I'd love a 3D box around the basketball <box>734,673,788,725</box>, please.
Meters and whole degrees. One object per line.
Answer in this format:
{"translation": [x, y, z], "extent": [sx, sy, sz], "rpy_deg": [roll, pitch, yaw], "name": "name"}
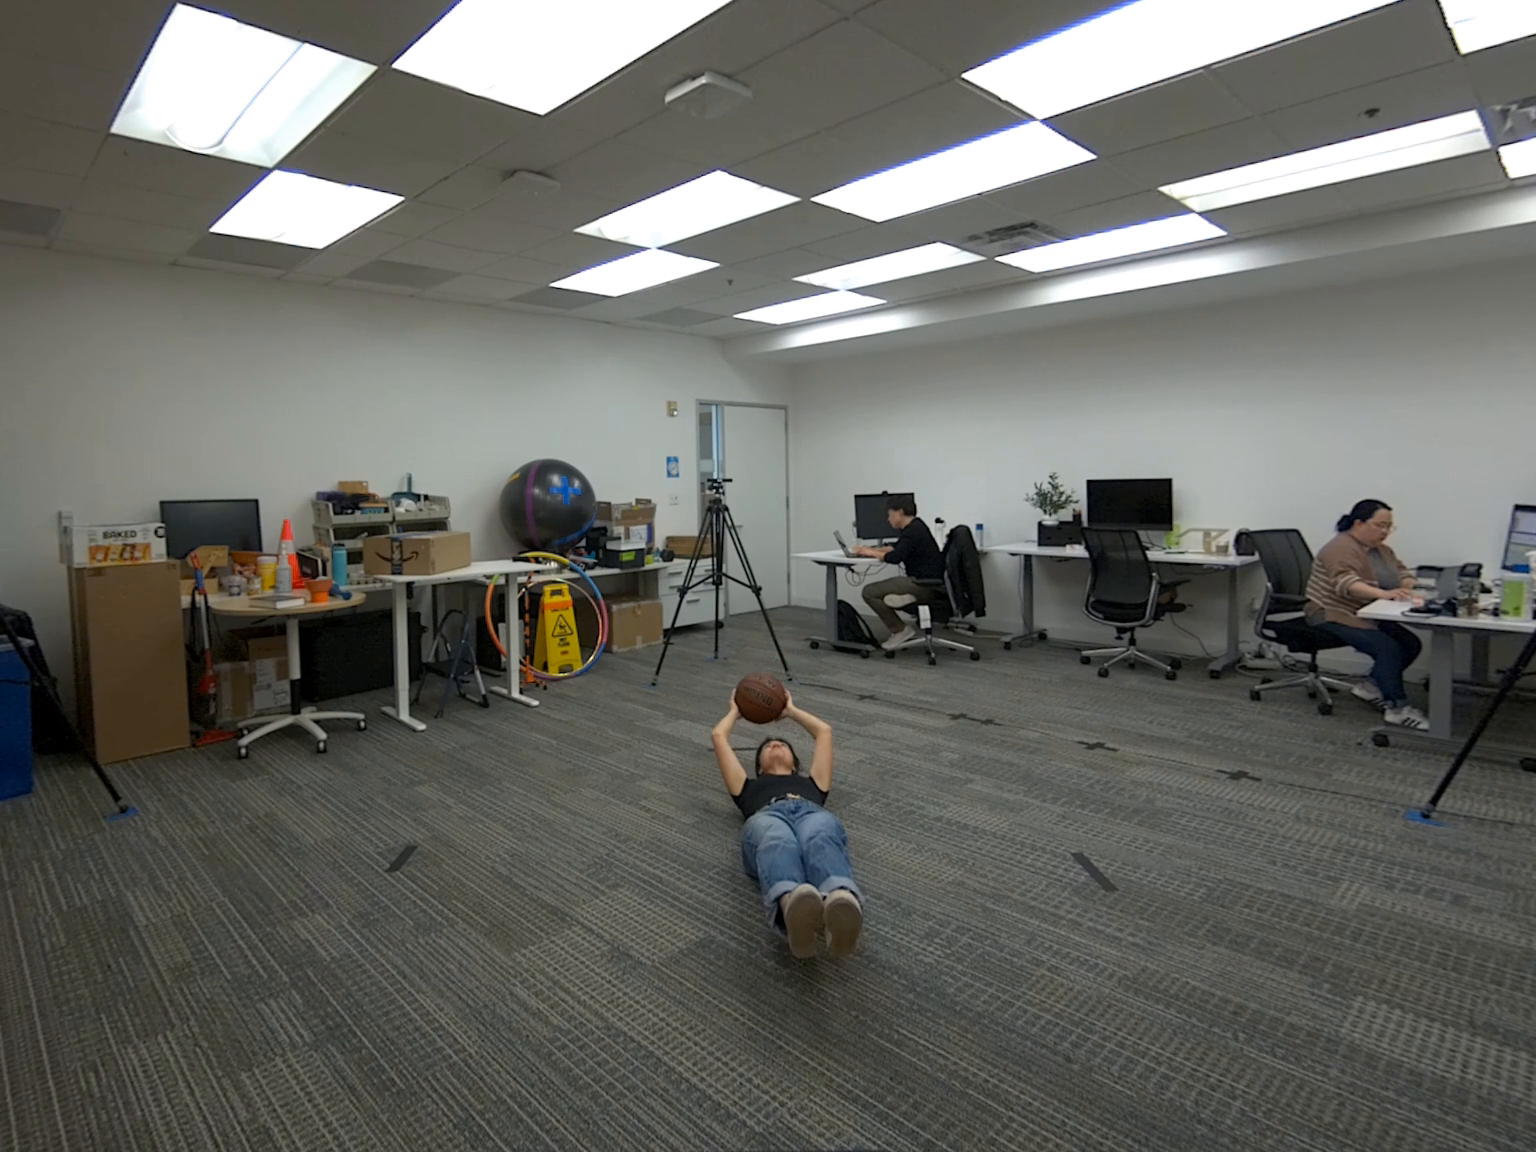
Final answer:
{"translation": [-0.034, 0.561, 3.955], "extent": [0.236, 0.235, 0.237], "rpy_deg": [-1, 5, -2], "name": "basketball"}
